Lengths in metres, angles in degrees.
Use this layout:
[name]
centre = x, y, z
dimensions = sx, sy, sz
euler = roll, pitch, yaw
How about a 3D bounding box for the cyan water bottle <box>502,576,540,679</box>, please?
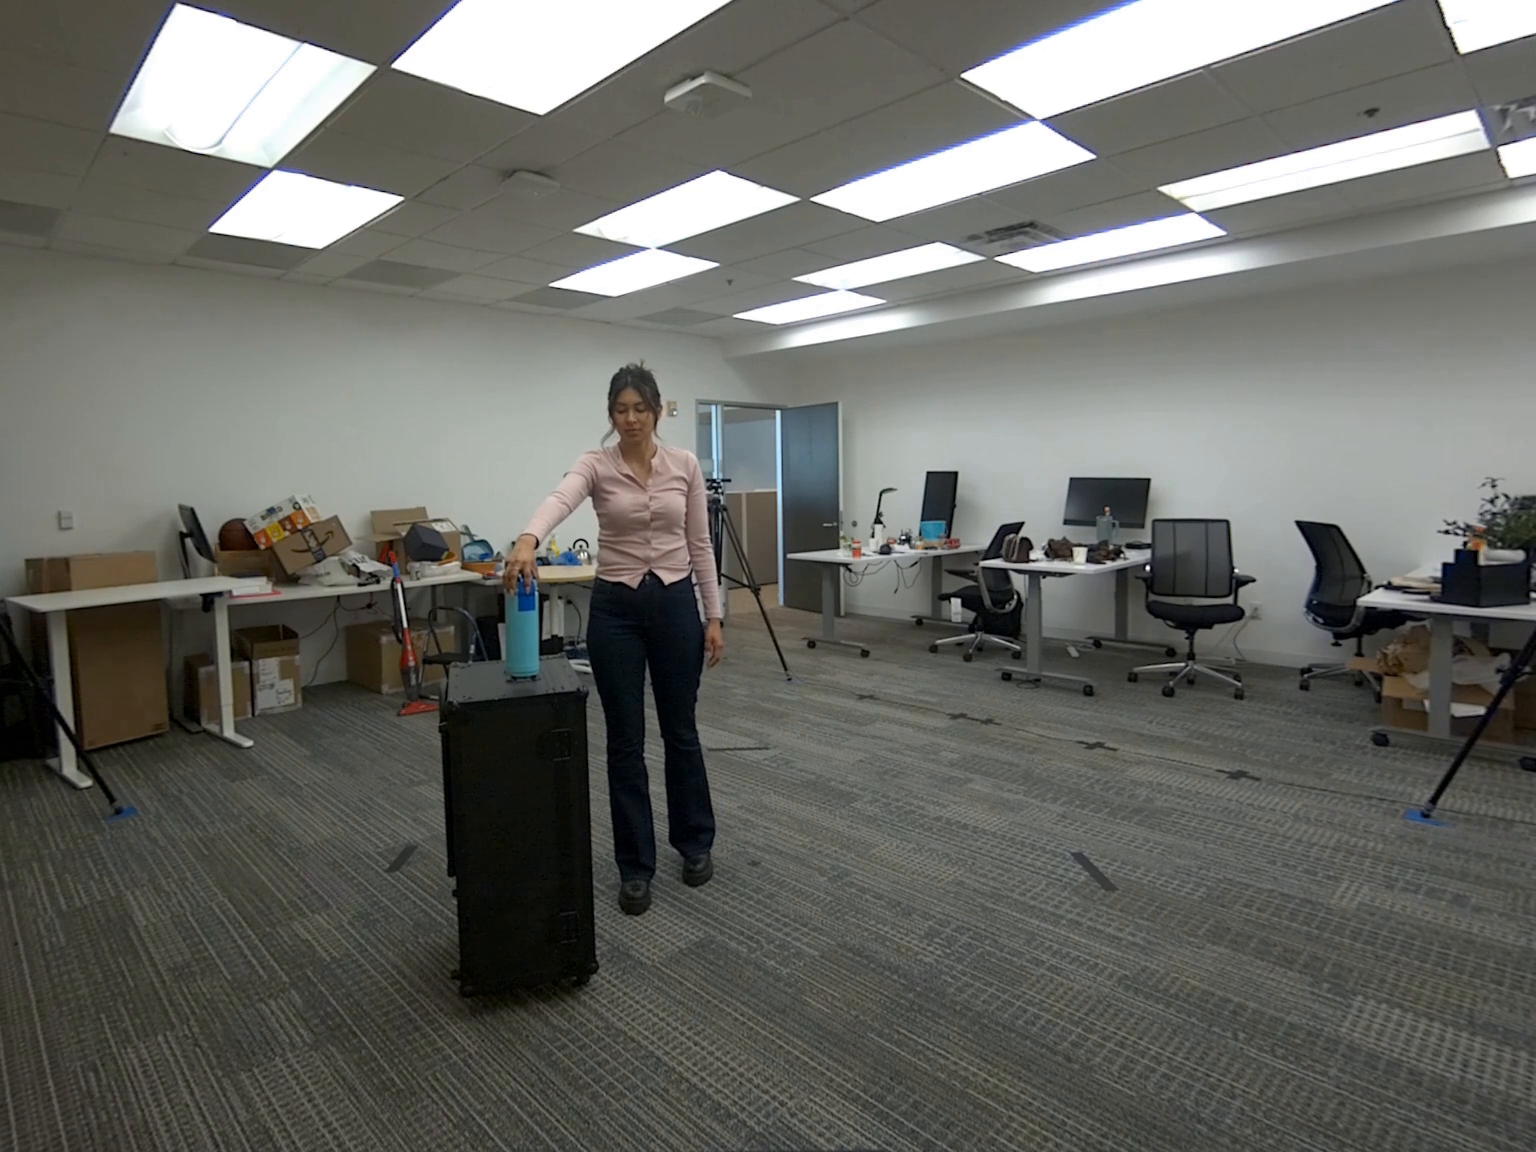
[cyan water bottle]
centre = -0.666, 0.125, 2.309
dimensions = 0.092, 0.282, 0.093
euler = 2, 4, -2
